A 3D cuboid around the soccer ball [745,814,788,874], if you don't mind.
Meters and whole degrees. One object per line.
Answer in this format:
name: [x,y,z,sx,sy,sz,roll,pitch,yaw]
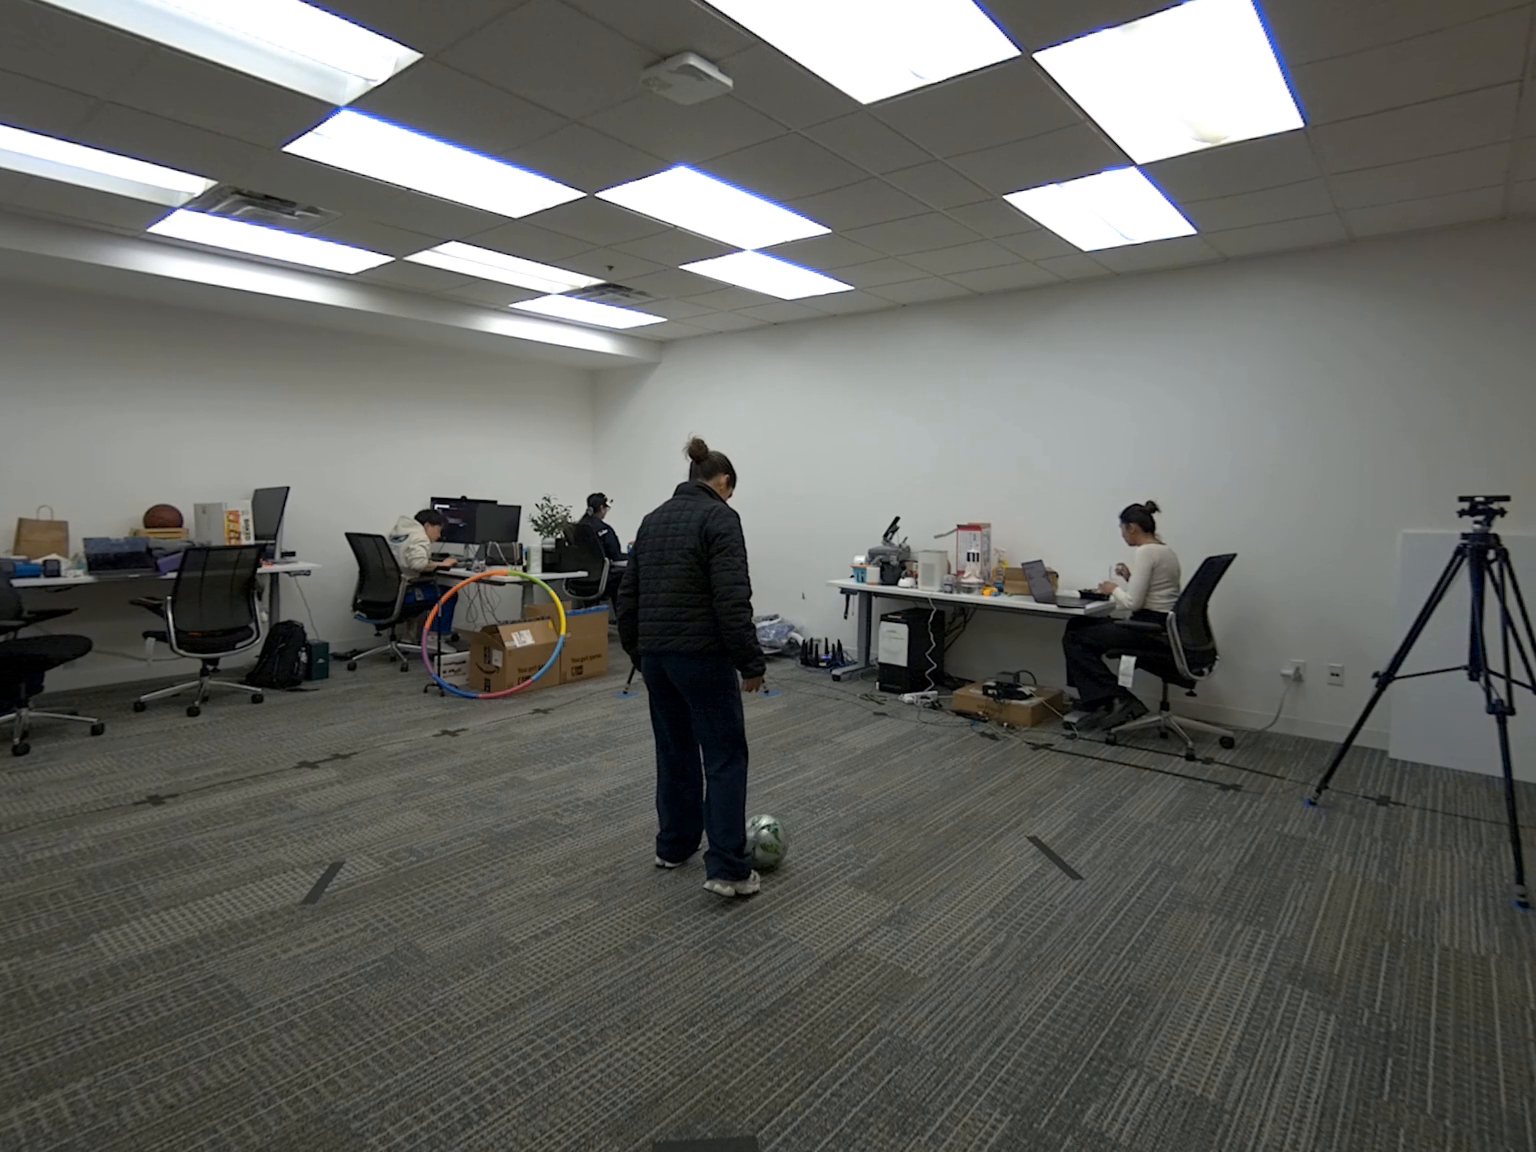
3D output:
soccer ball: [-0.018,0.973,3.124,0.187,0.187,0.188,1,4,-2]
